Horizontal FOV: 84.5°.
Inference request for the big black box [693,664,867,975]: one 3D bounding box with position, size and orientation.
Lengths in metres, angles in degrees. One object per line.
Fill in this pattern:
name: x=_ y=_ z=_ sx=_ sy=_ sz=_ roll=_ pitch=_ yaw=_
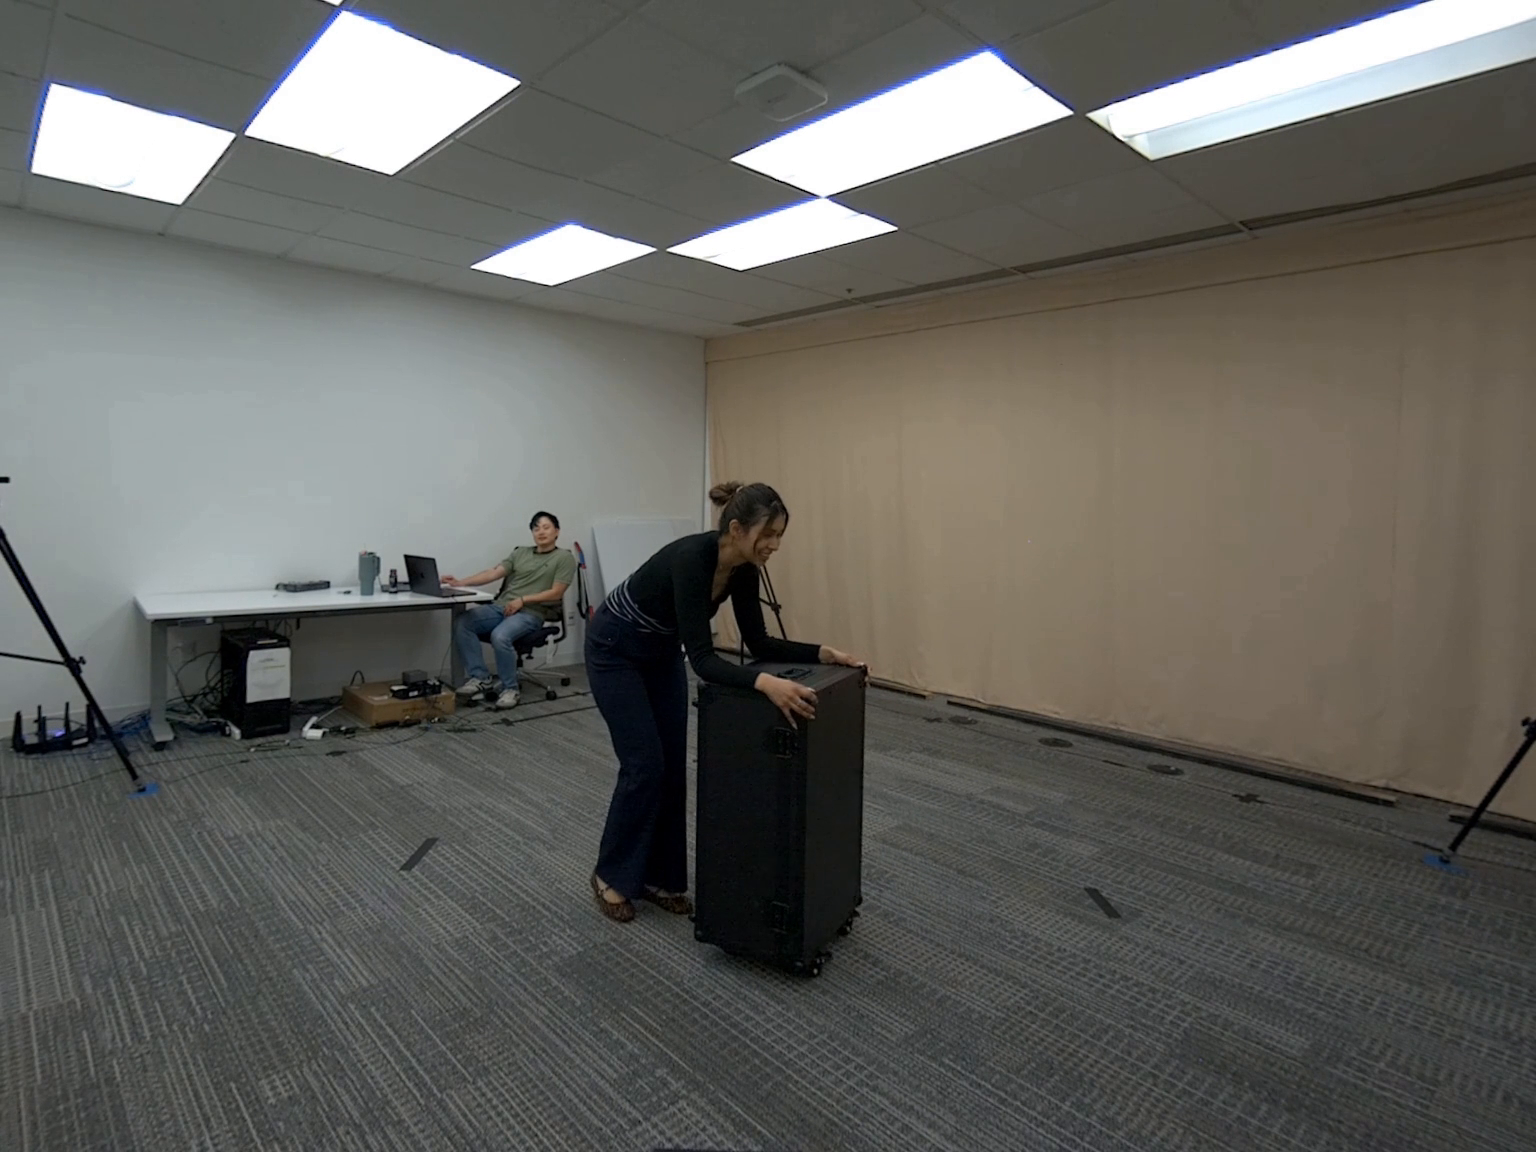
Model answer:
big black box: x=0.035 y=0.733 z=2.609 sx=0.404 sy=0.860 sz=0.512 roll=1 pitch=3 yaw=27
